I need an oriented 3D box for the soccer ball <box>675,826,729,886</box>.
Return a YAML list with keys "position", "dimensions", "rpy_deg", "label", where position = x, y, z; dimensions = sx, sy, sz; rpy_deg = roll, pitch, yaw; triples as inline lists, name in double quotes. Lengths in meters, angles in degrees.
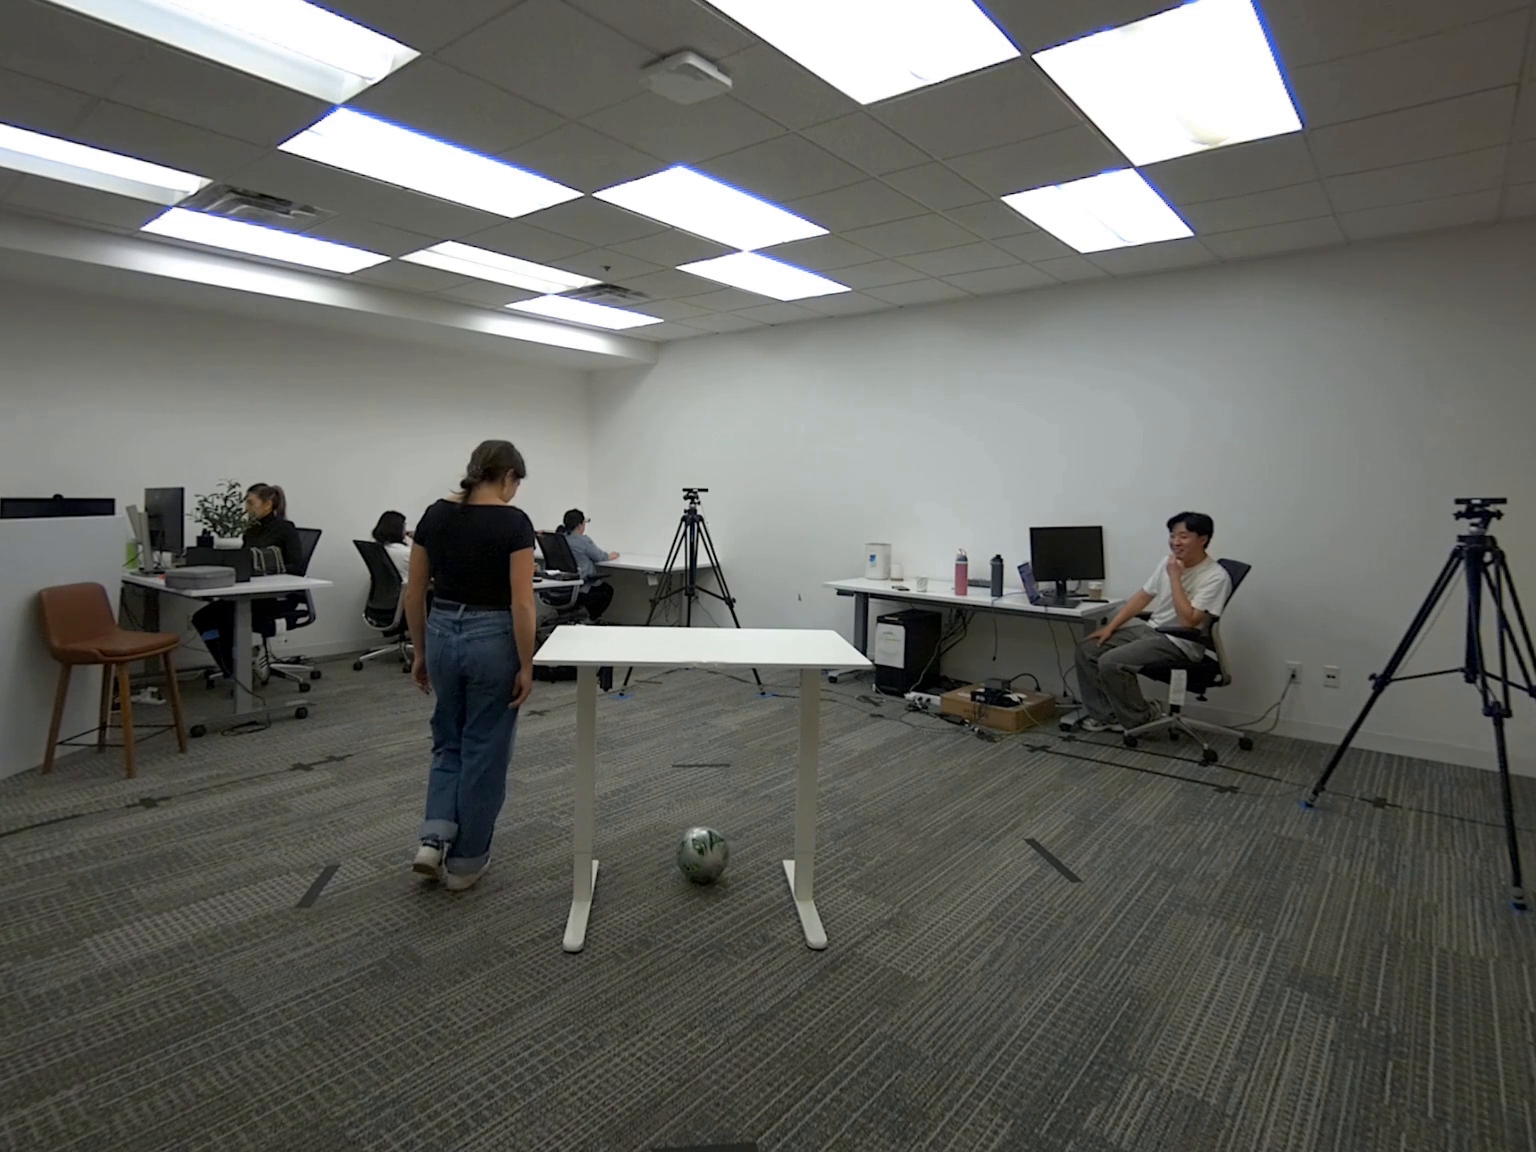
- position: [-0.234, 0.985, 3.022]
  dimensions: [0.187, 0.187, 0.188]
  rpy_deg: [1, 4, -2]
  label: "soccer ball"
